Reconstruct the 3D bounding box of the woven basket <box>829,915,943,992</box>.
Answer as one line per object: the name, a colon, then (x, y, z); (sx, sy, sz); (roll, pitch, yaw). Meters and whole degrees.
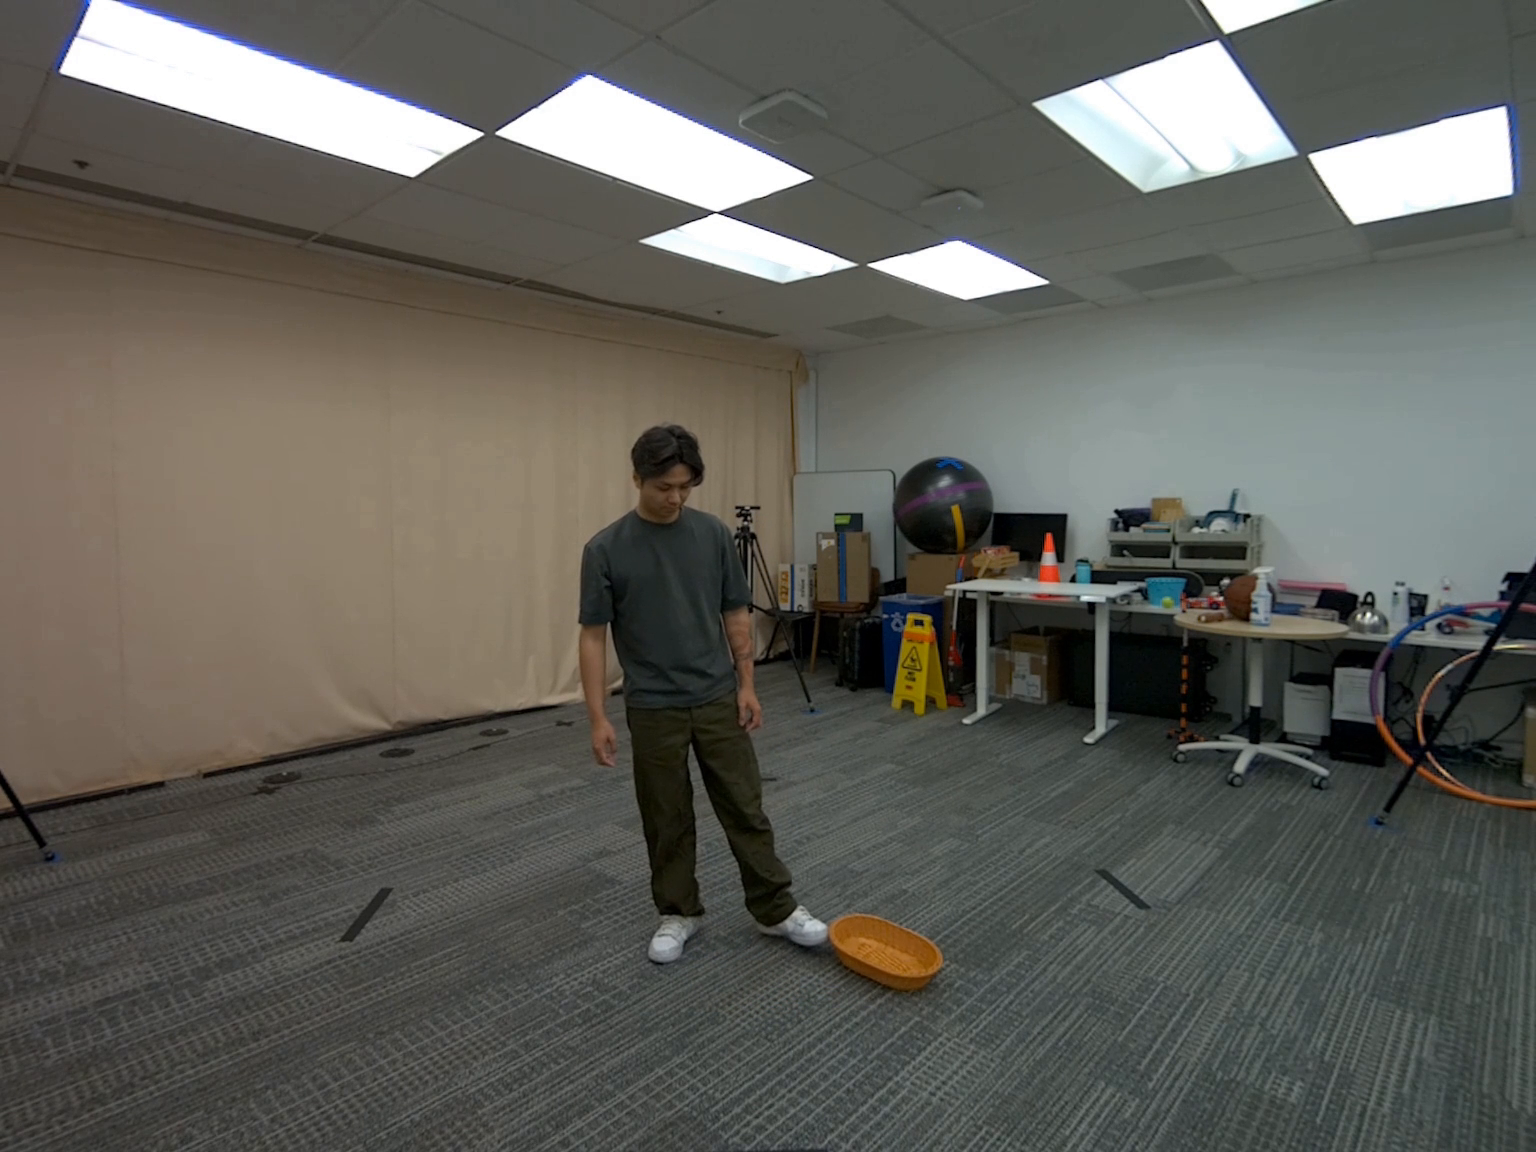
woven basket: (0.354, 1.136, 2.521); (0.362, 0.073, 0.244); (9, 8, 41)
